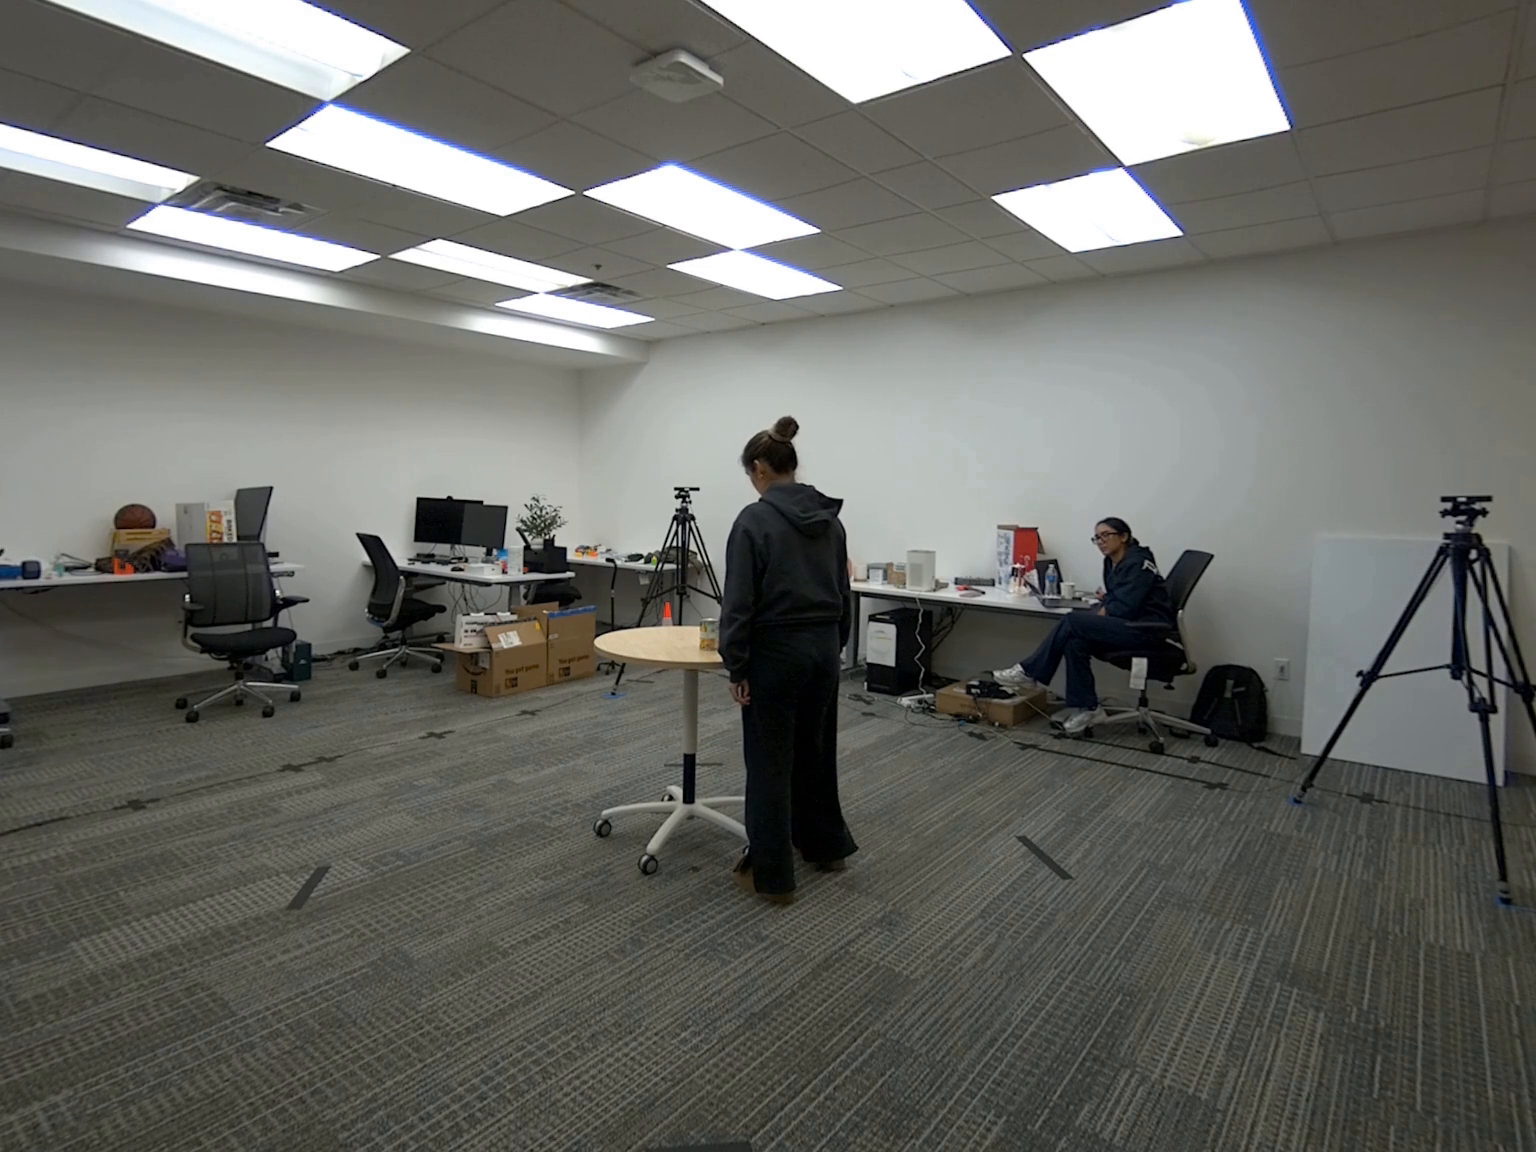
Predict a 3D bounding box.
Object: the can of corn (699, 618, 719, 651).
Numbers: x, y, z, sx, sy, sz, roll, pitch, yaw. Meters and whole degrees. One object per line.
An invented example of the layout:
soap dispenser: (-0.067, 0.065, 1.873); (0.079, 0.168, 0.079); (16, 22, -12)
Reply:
can of corn: (-0.227, 0.220, 3.223); (0.074, 0.111, 0.074); (2, 2, -2)
